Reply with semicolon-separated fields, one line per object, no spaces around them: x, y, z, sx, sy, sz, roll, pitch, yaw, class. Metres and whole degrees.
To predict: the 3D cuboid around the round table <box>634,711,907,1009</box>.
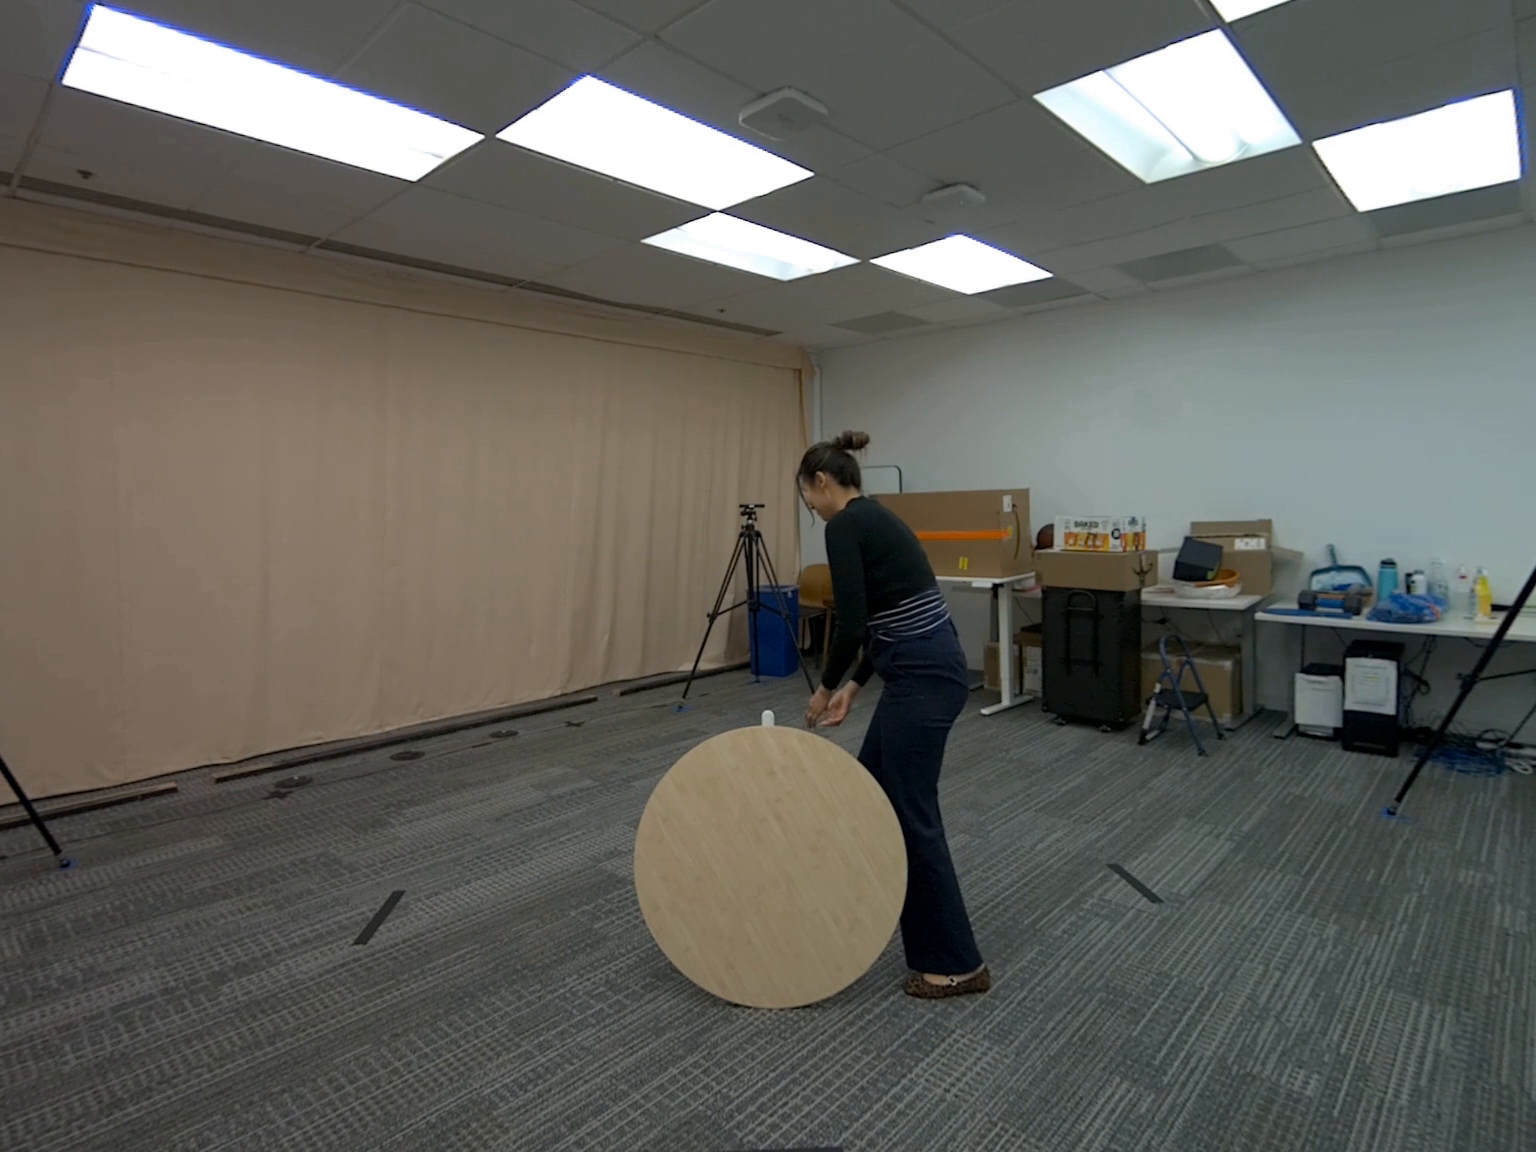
0.009;0.834;2.747;0.767;0.766;0.789;-1;-3;3;round table
